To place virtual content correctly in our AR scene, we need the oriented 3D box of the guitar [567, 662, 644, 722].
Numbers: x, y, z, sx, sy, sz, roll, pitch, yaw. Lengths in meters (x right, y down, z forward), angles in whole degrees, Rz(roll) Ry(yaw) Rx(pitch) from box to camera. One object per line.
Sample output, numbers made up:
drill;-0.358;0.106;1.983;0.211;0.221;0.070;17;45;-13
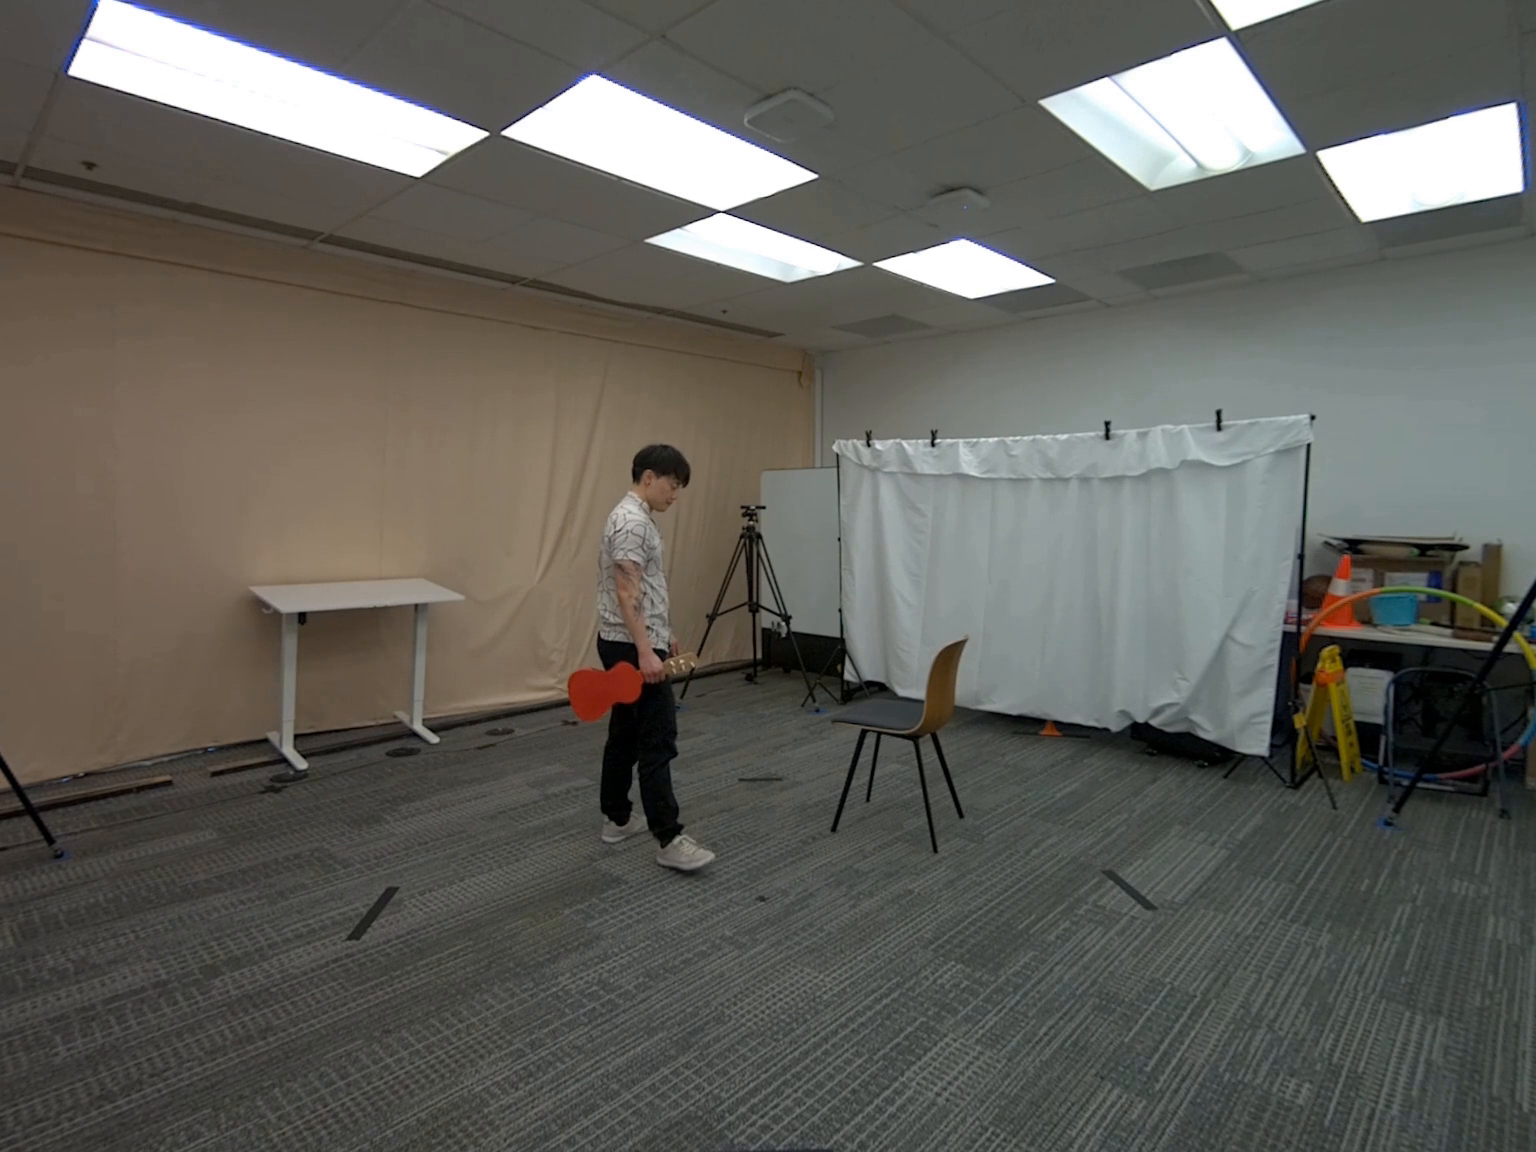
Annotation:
guitar;-0.500;0.365;3.161;0.494;0.192;0.071;-24;3;-9
